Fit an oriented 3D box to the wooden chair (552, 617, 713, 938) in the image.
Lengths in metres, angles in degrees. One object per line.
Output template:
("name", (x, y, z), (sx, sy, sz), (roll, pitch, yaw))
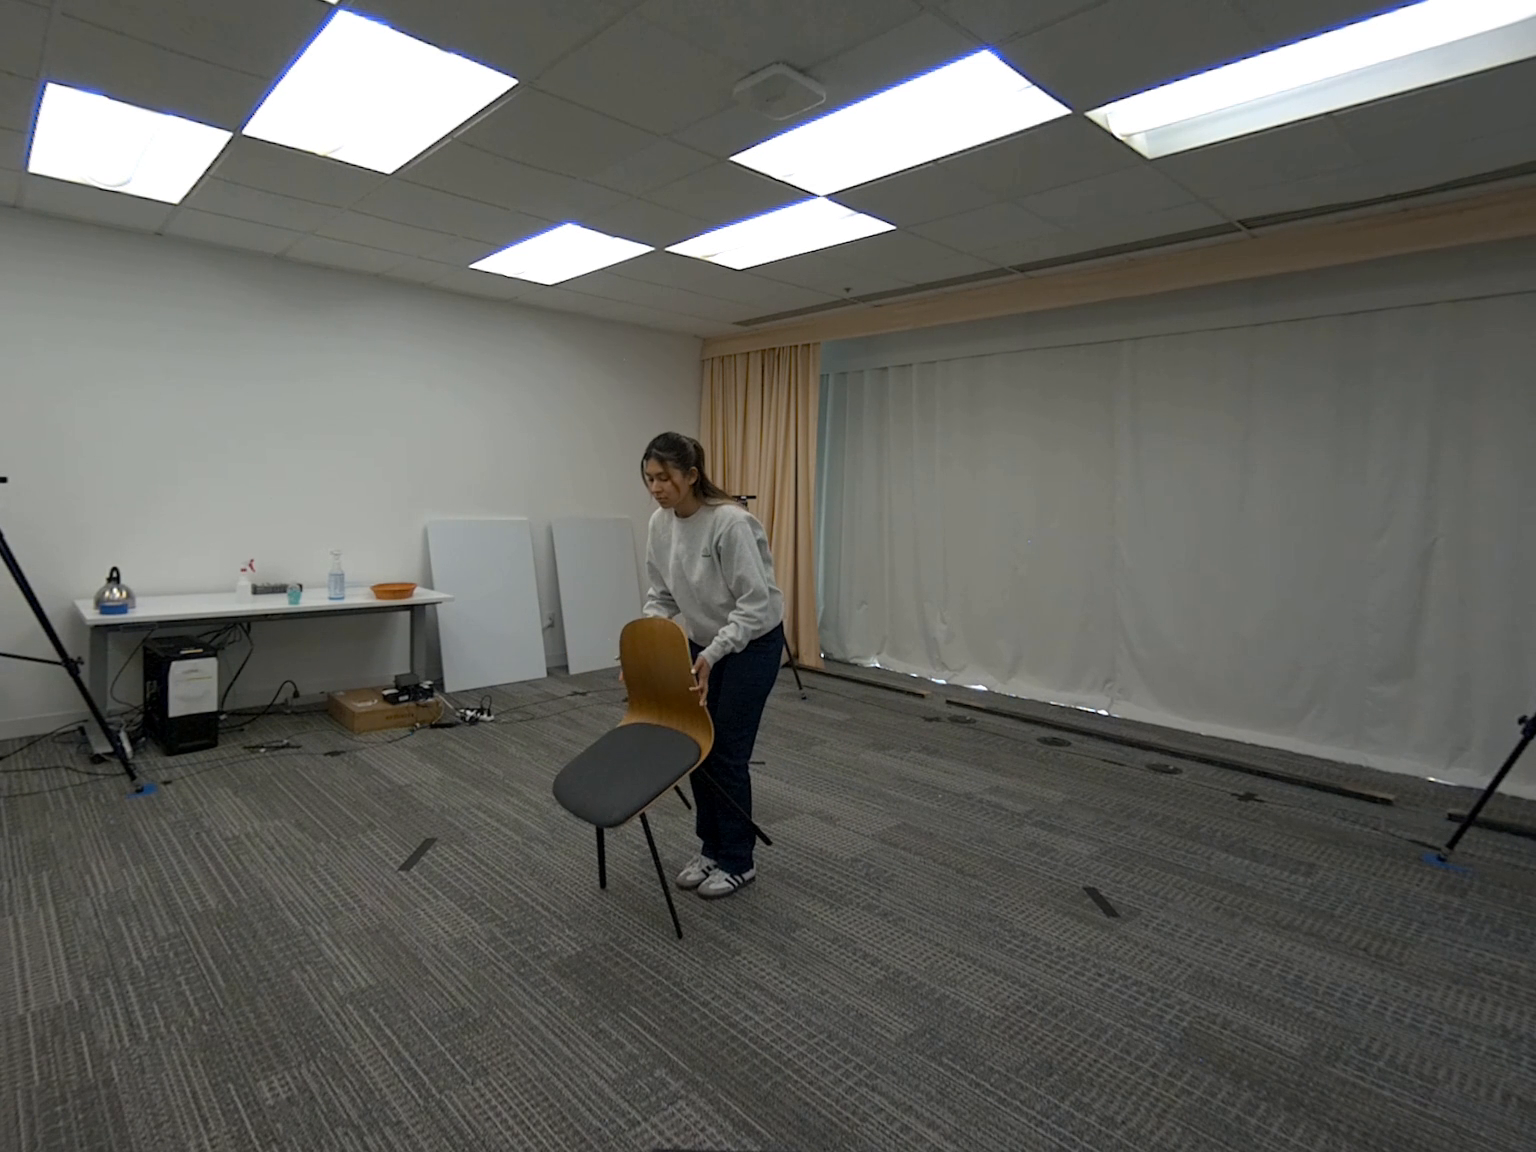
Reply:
("wooden chair", (-0.418, 0.649, 2.777), (0.490, 0.864, 0.518), (5, 26, 46))
